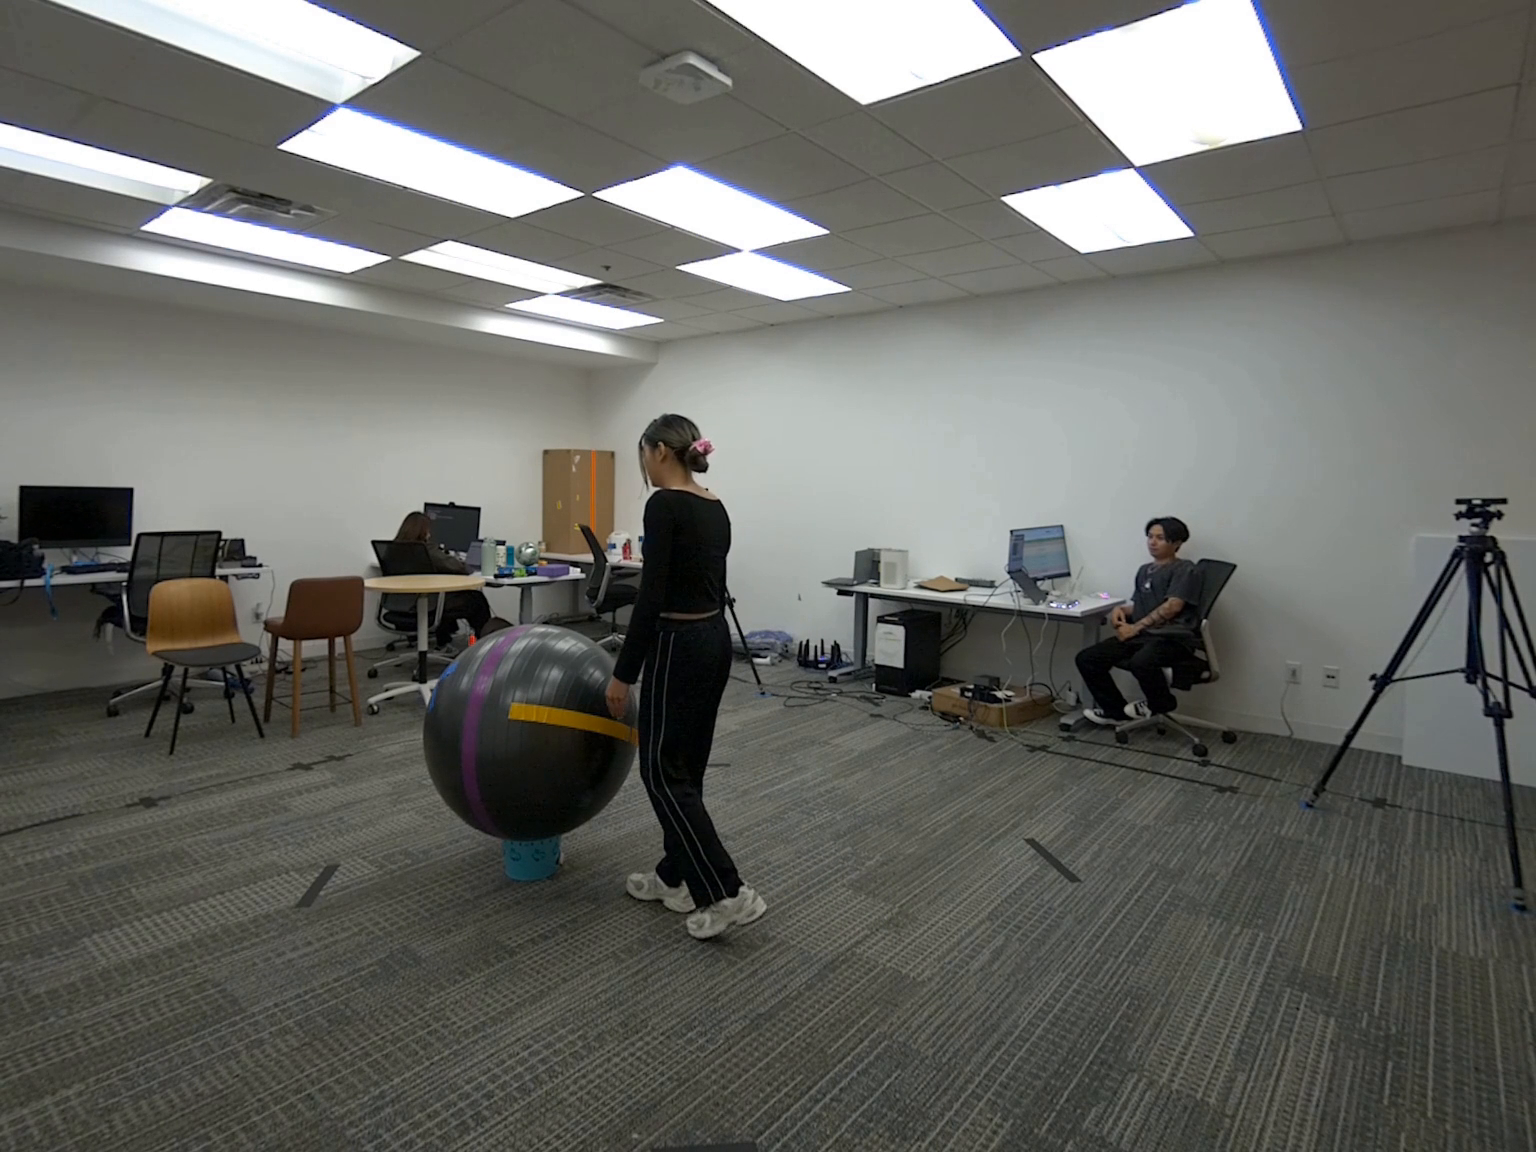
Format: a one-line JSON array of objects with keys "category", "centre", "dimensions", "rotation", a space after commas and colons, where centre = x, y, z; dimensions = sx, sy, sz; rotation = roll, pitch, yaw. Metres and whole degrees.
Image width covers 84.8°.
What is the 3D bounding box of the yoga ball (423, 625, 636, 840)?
[{"category": "yoga ball", "centre": [-0.860, 0.560, 3.063], "dimensions": [0.757, 0.755, 0.762], "rotation": [1, 4, -2]}]
